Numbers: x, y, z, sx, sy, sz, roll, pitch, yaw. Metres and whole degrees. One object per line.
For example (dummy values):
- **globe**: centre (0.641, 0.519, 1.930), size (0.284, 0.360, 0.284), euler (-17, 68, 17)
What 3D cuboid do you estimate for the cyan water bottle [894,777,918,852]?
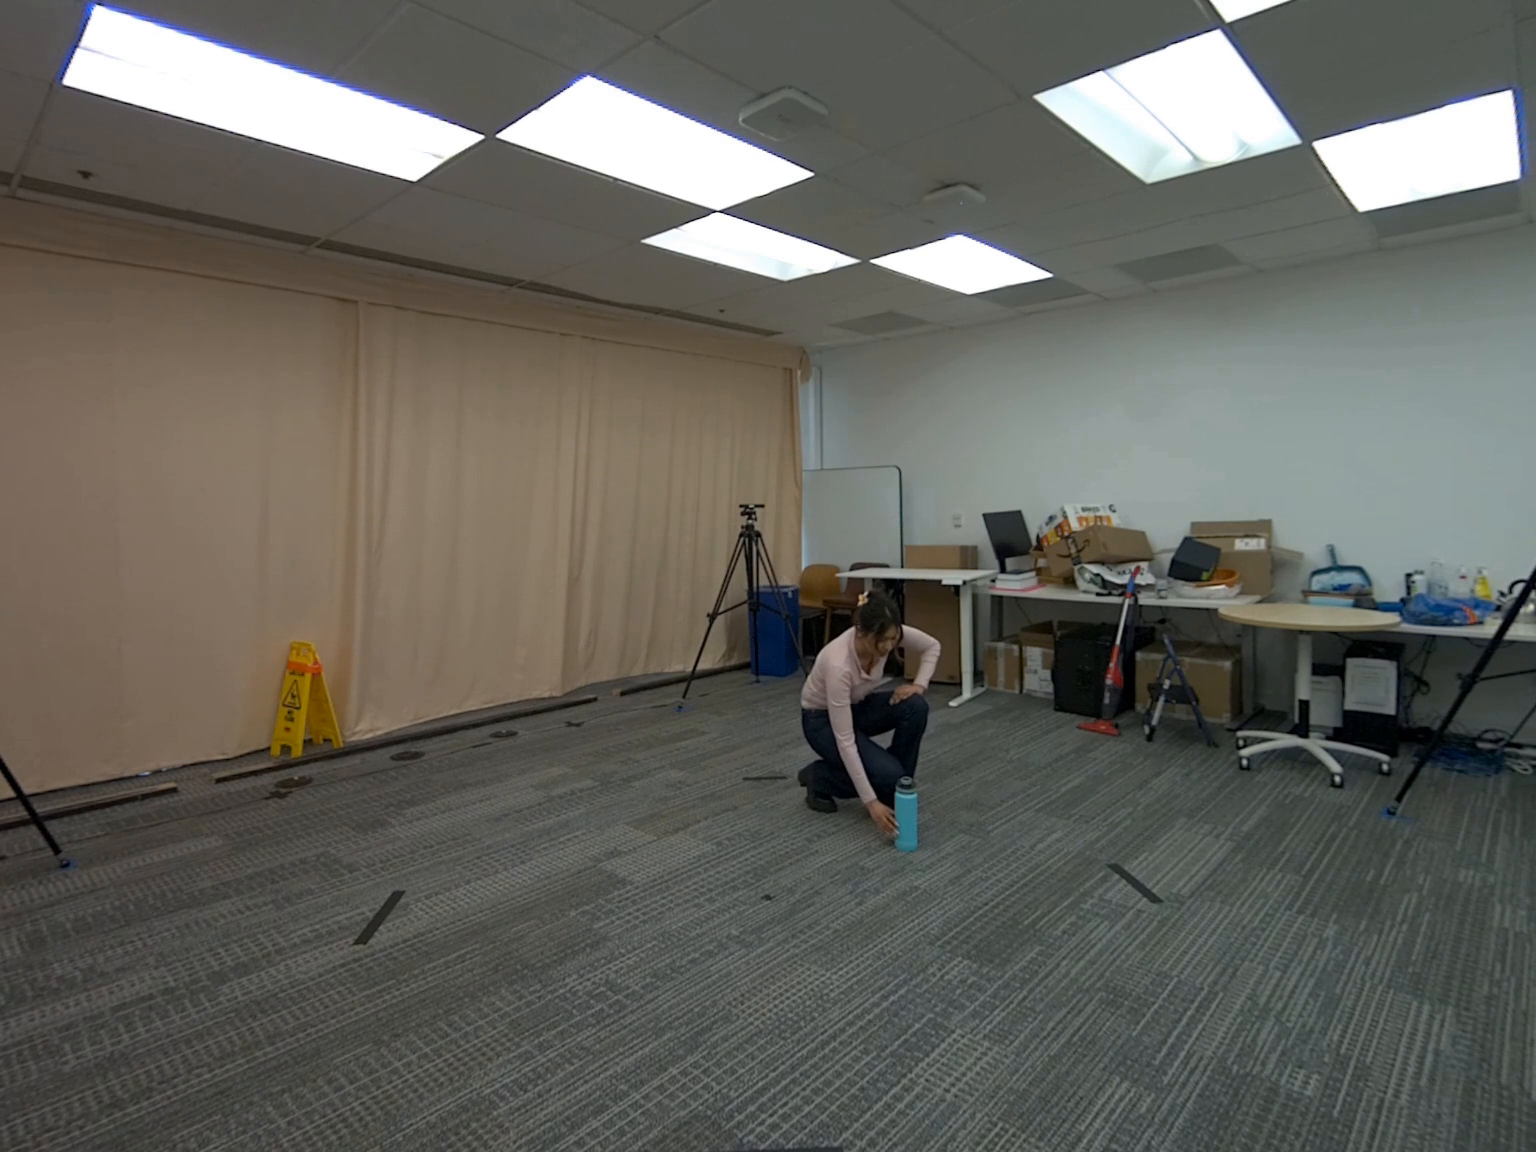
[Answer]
- **cyan water bottle**: centre (0.560, 0.952, 3.402), size (0.092, 0.283, 0.092), euler (1, 1, -2)
